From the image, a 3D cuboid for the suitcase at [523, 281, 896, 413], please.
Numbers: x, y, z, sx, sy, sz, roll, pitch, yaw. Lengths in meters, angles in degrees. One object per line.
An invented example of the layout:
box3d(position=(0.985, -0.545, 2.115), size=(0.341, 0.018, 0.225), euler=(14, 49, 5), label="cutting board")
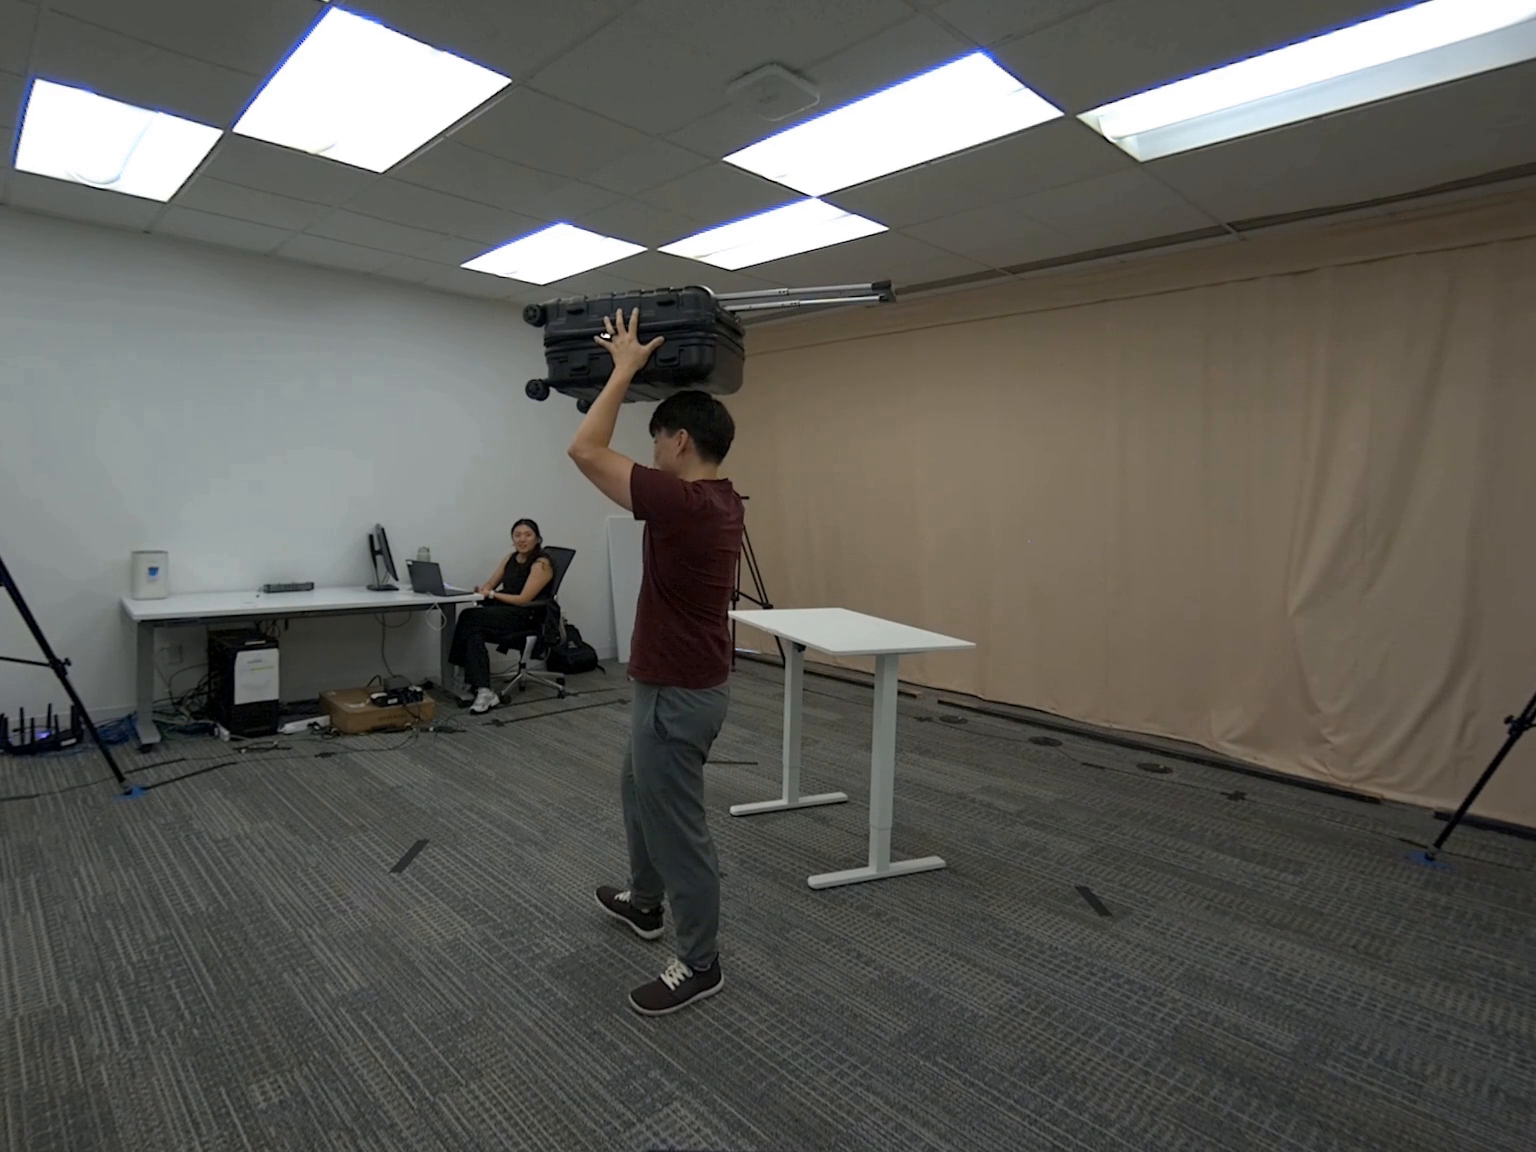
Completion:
box3d(position=(-0.160, -0.632, 2.295), size=(0.992, 0.256, 0.380), euler=(1, 5, 18), label="suitcase")
